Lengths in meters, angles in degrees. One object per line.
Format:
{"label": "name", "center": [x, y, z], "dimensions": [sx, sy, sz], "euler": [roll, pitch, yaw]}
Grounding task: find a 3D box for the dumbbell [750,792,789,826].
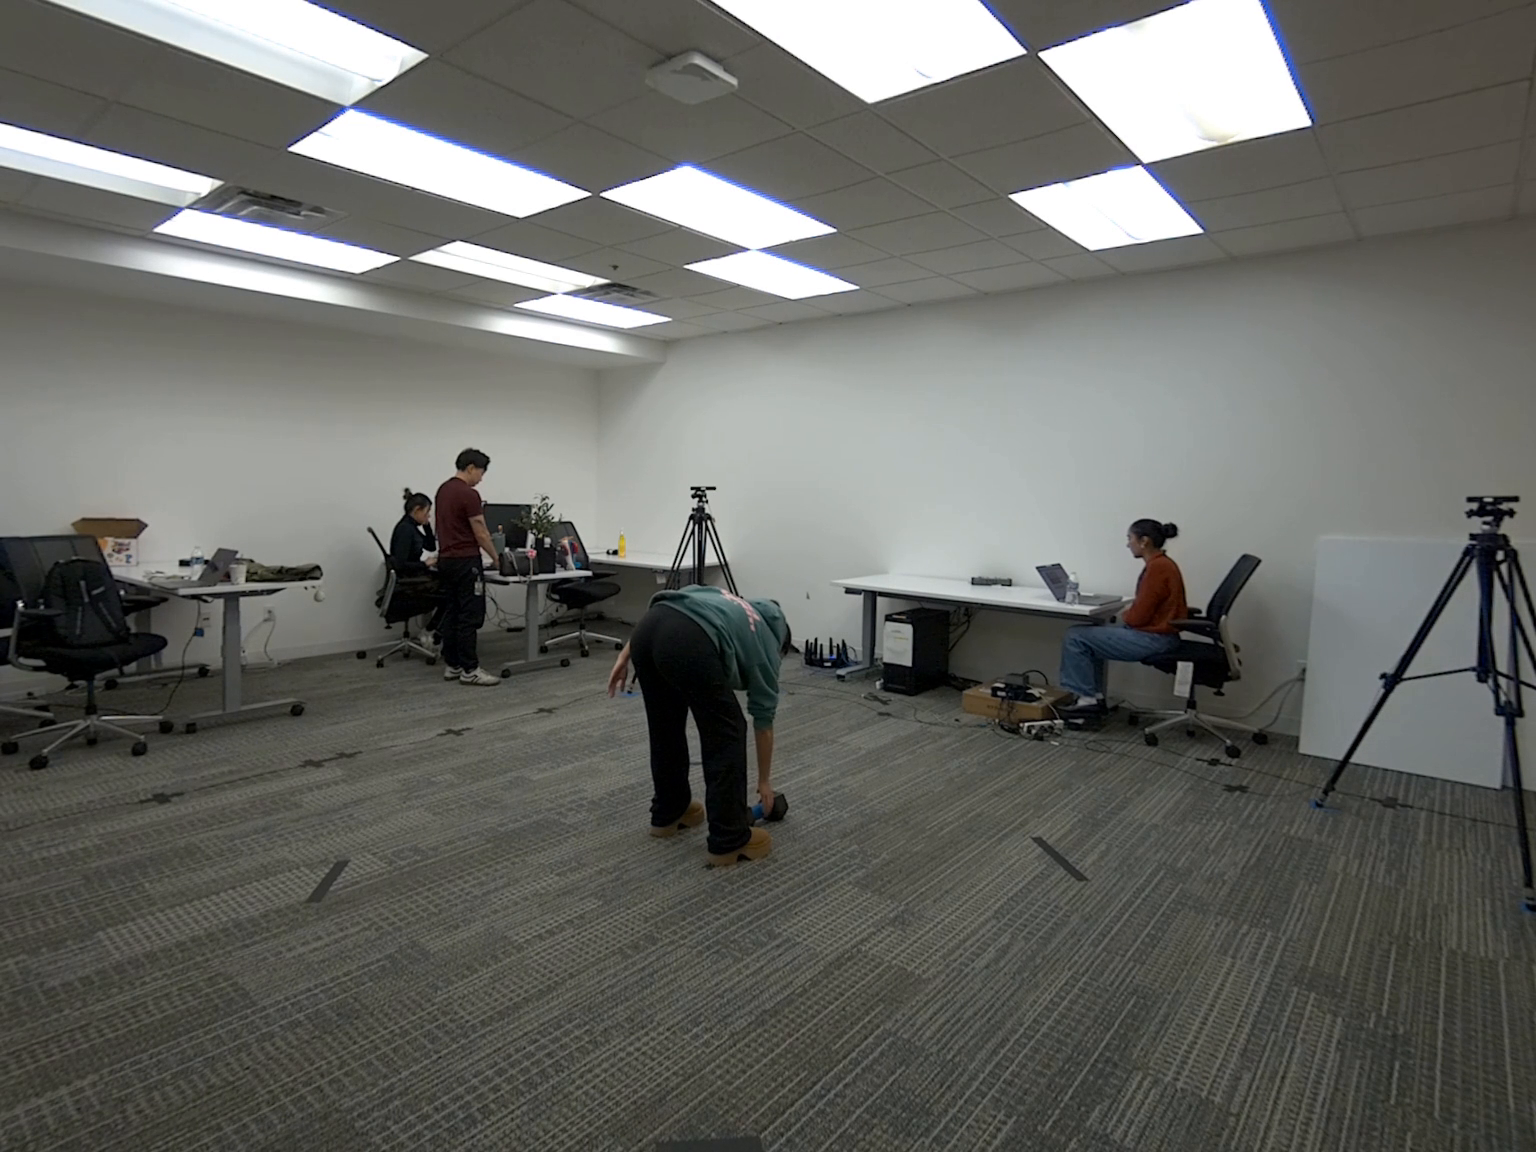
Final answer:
{"label": "dumbbell", "center": [-0.054, 0.977, 3.515], "dimensions": [0.127, 0.108, 0.285], "euler": [7, 8, 42]}
